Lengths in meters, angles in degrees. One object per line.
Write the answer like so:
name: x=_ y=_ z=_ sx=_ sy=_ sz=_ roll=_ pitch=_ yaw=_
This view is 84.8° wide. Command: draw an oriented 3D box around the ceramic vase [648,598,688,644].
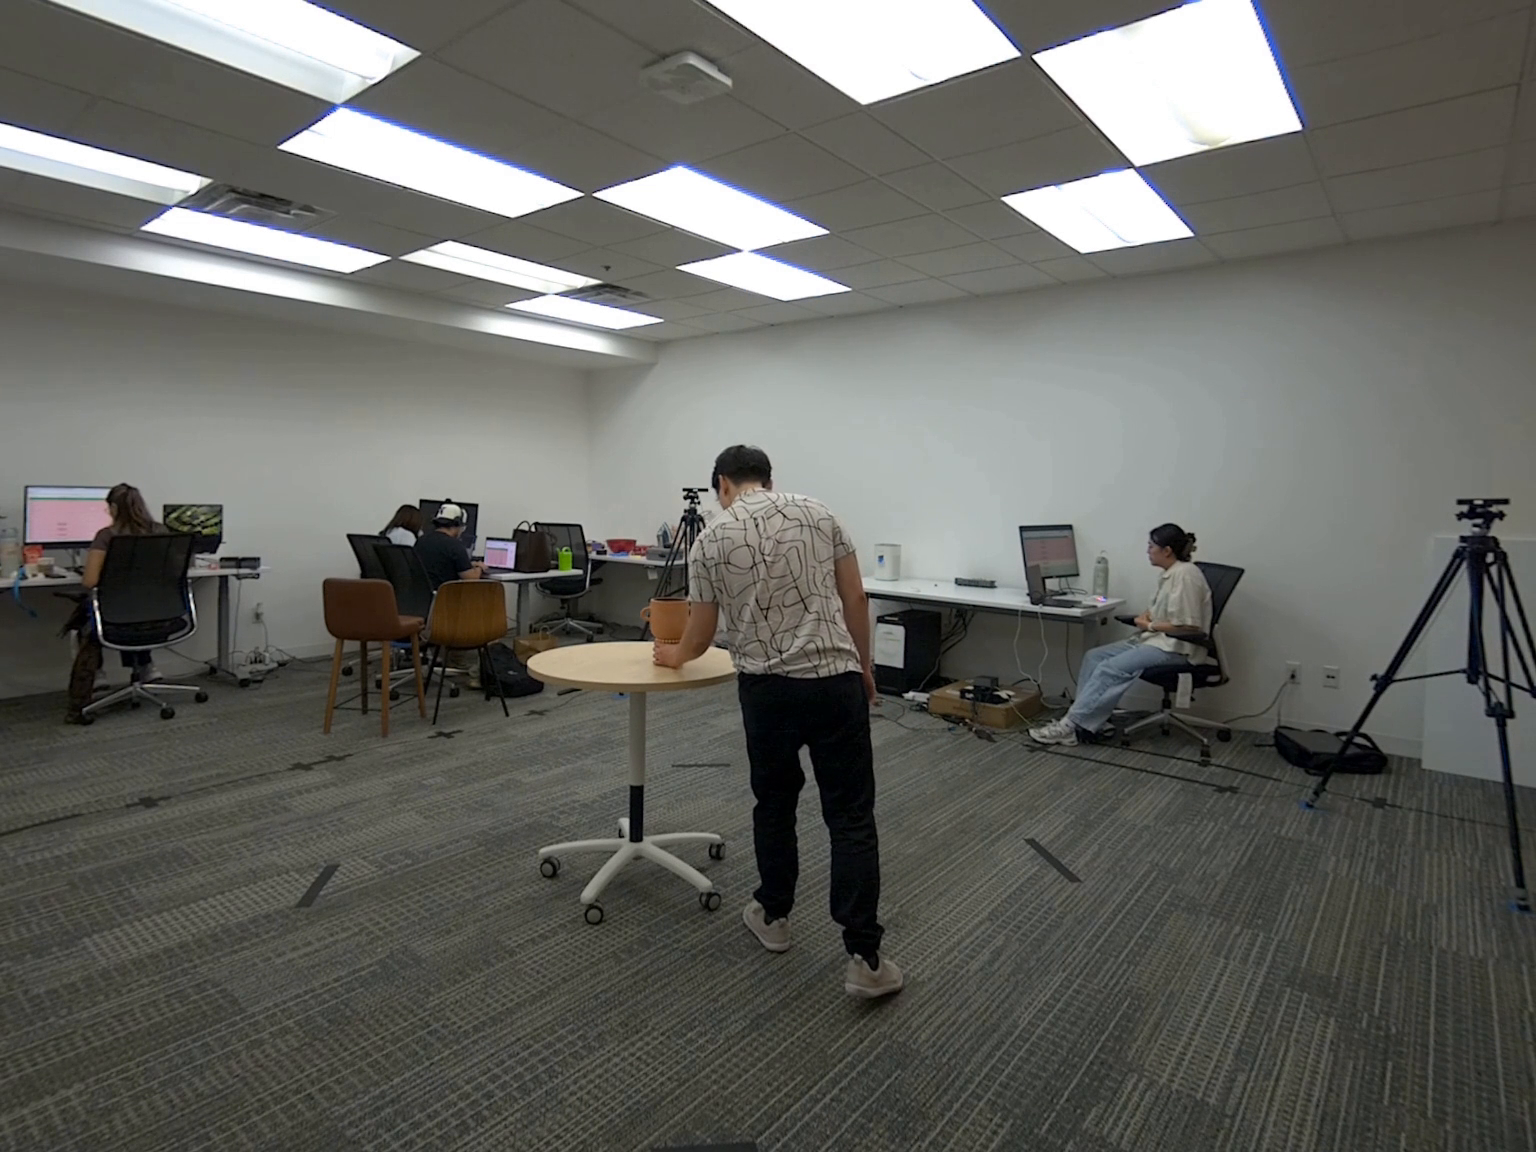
ceramic vase: x=-0.354 y=0.188 z=2.925 sx=0.163 sy=0.219 sz=0.131 roll=2 pitch=5 yaw=30
